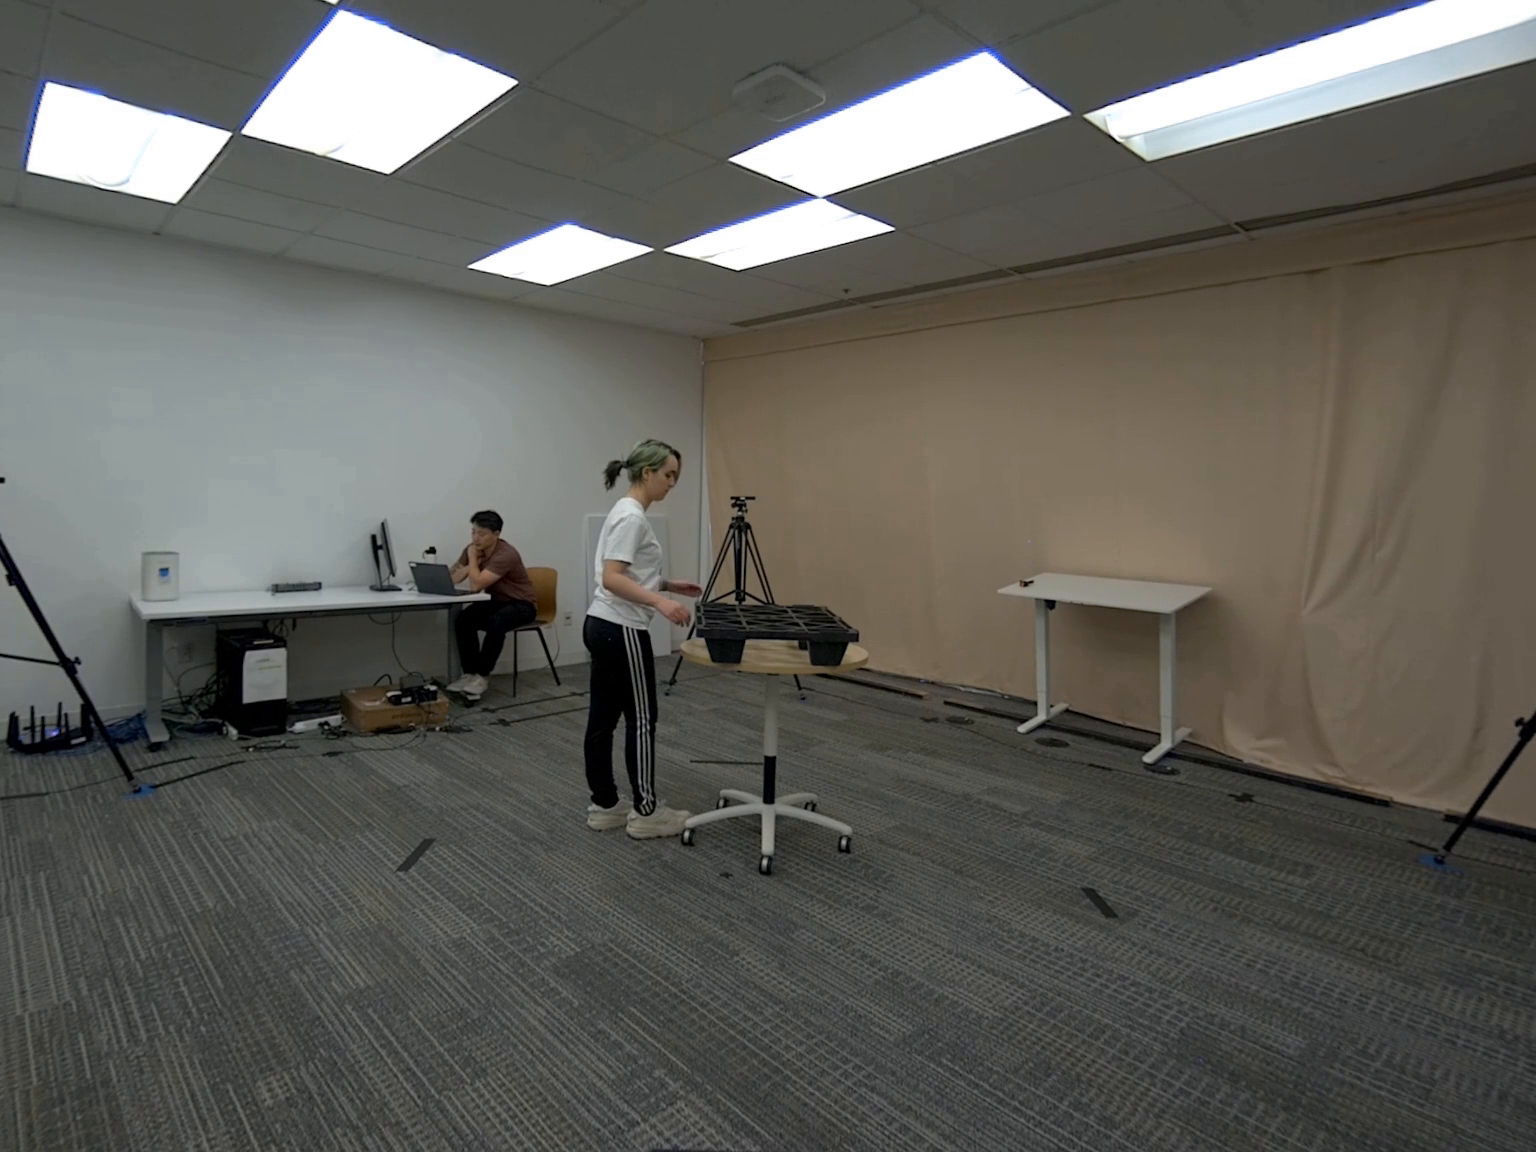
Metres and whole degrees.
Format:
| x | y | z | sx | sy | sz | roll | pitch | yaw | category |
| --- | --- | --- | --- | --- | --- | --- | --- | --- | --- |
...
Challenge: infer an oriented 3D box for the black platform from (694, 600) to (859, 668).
| x | y | z | sx | sy | sz | roll | pitch | yaw | category |
| --- | --- | --- | --- | --- | --- | --- | --- | --- | --- |
| -0.003 | 0.228 | 3.452 | 0.603 | 0.143 | 0.810 | 2 | 5 | -5 | black platform |
